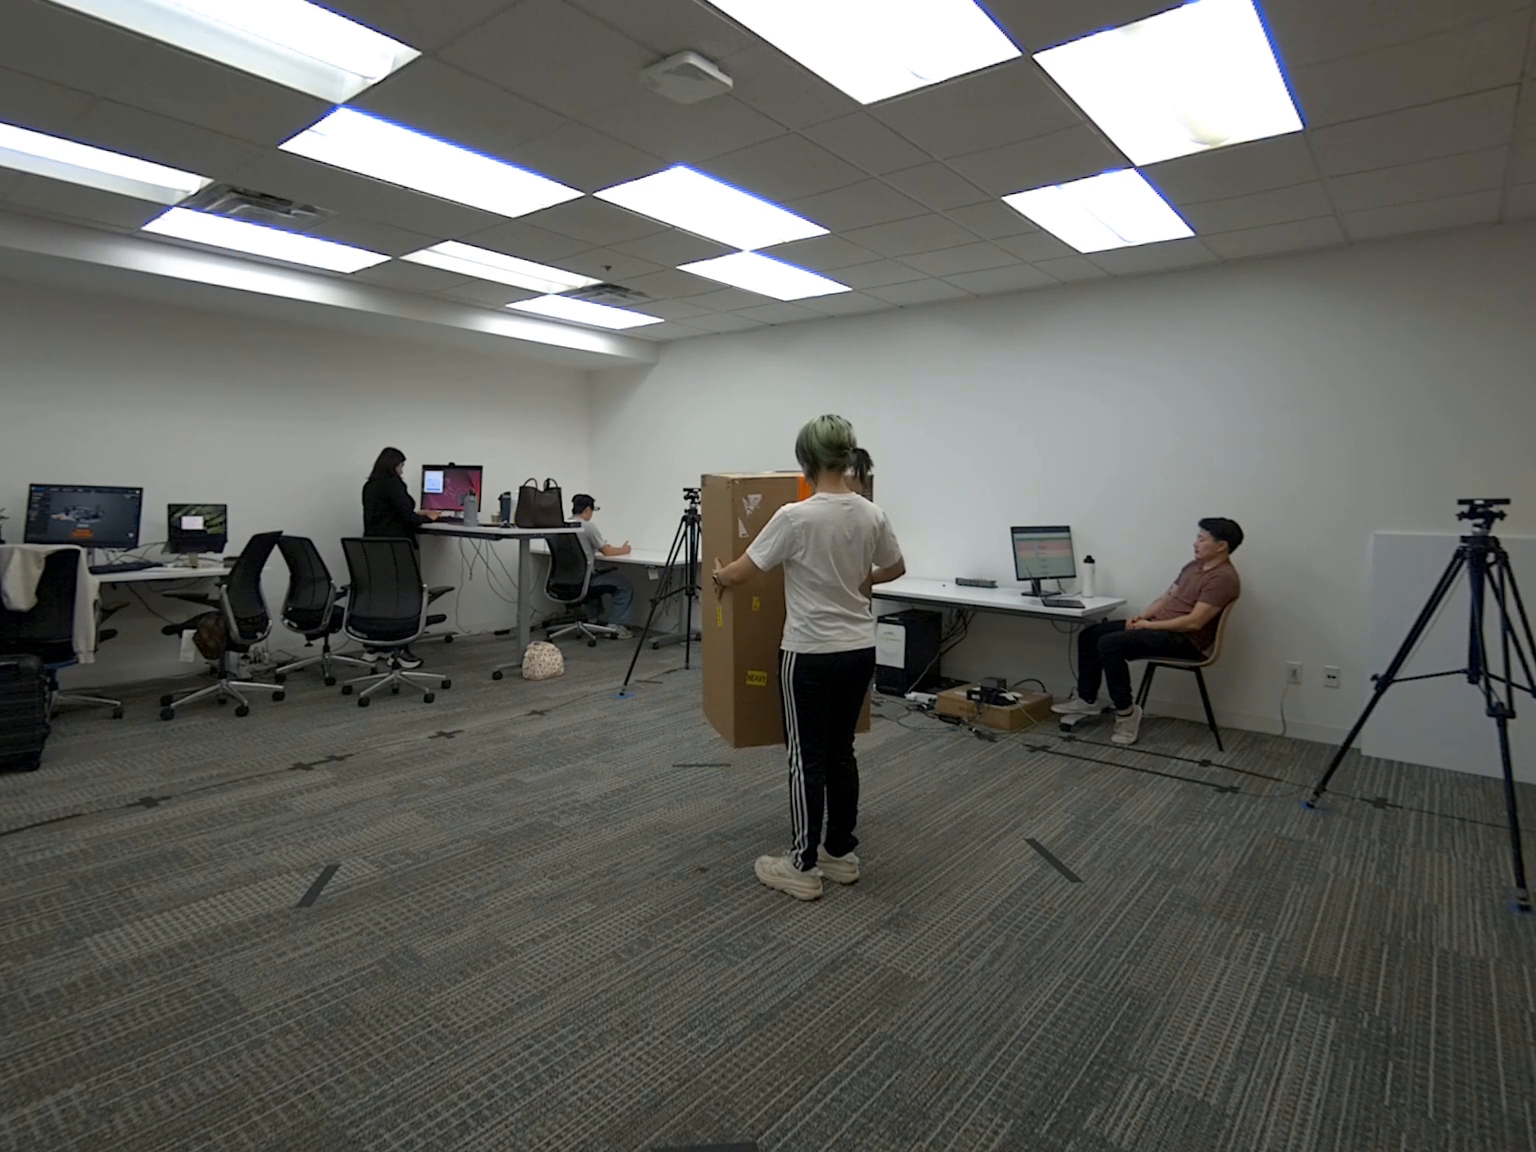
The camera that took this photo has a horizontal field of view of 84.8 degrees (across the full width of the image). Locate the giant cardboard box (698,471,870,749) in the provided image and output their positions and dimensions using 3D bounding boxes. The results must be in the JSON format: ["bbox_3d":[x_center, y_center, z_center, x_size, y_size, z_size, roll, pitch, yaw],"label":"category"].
[{"bbox_3d":[0.048,0.101,3.422,0.567,1.019,0.436,-3,7,-18],"label":"giant cardboard box"}]
